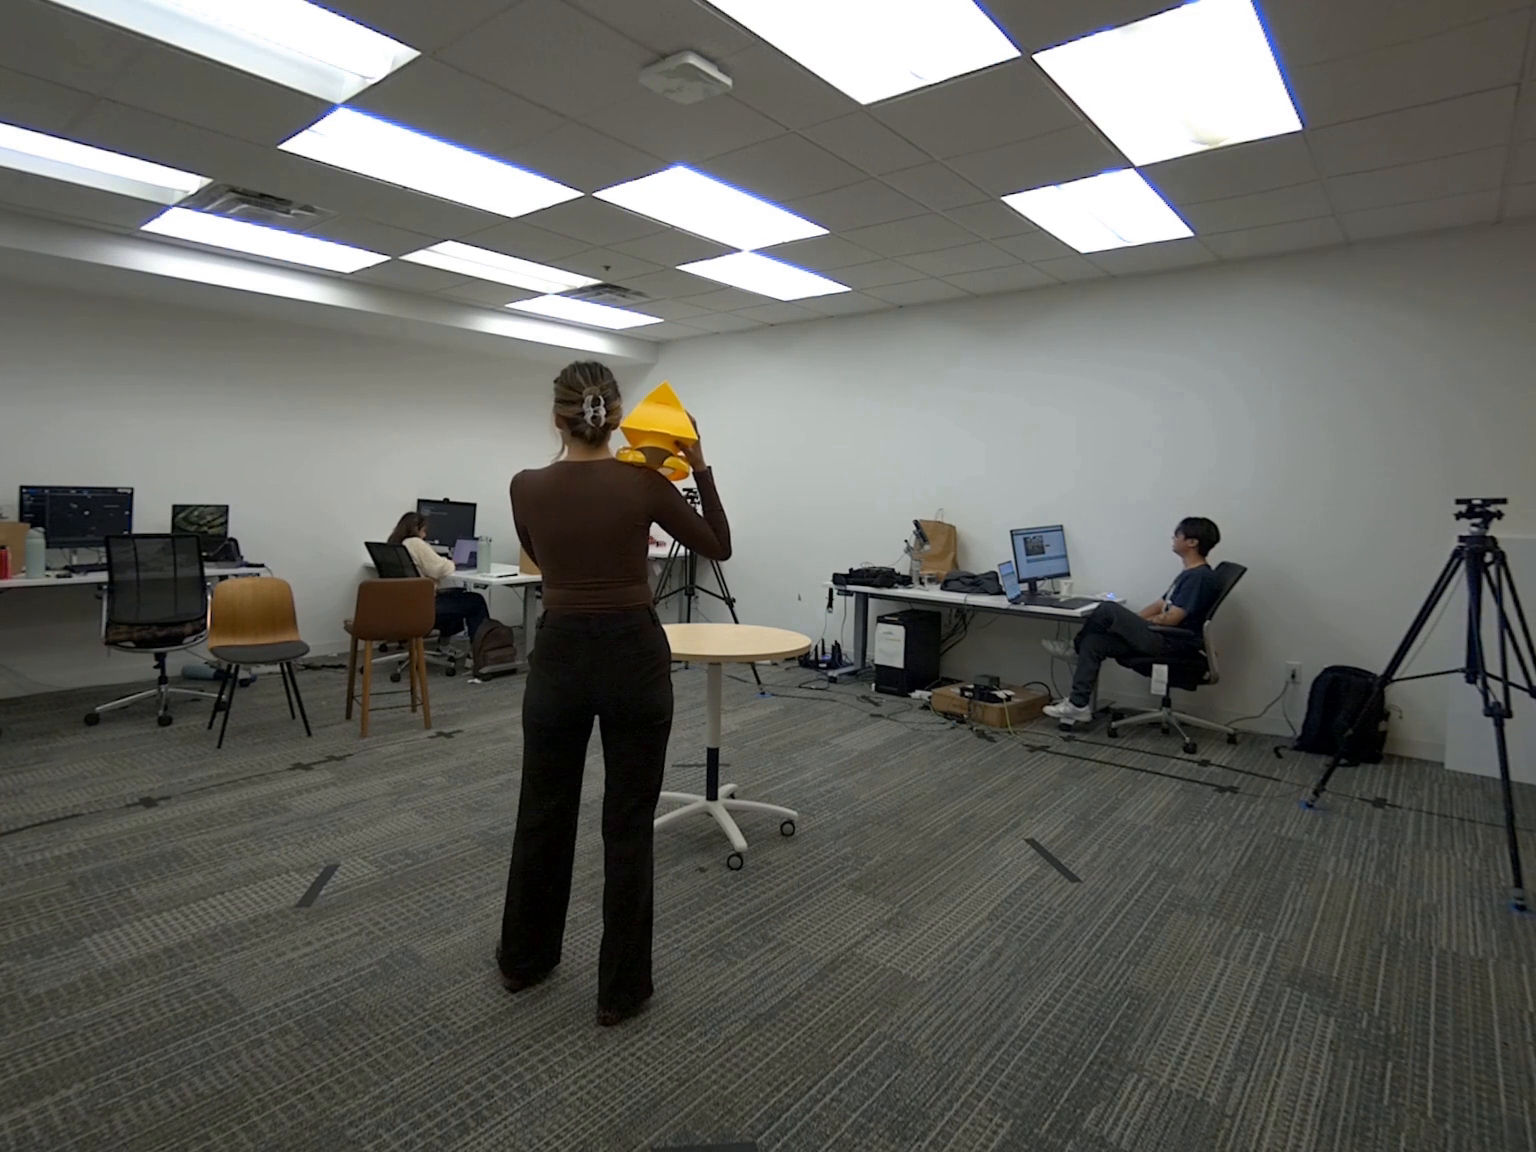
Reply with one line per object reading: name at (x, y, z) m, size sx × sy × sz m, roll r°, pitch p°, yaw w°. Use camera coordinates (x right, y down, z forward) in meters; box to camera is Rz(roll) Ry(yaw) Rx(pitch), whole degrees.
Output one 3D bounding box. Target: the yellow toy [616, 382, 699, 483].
yellow toy at (-0.314, -0.393, 2.268) m, size 0.202 × 0.233 × 0.193 m, roll 7°, pitch -10°, yaw -10°
